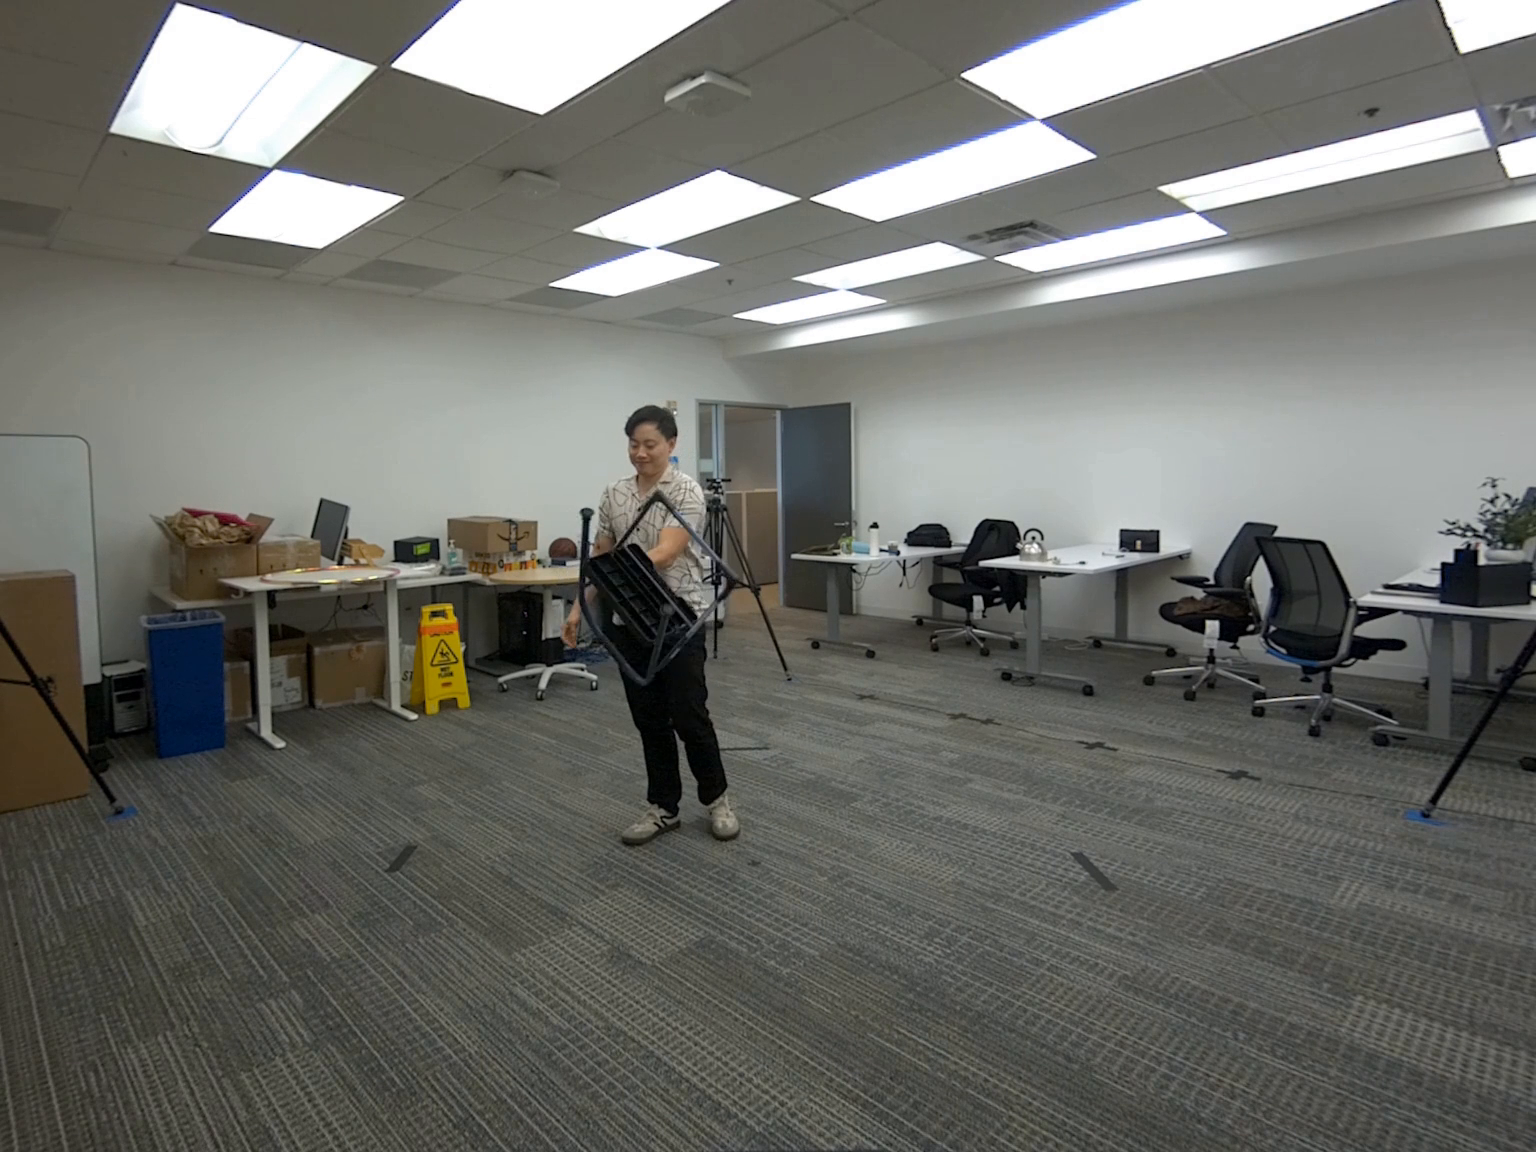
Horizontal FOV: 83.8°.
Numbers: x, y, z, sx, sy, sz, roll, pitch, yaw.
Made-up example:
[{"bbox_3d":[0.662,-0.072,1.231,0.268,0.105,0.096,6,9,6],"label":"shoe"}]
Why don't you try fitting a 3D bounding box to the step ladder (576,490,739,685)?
[{"bbox_3d":[-0.465,0.090,2.792,0.343,0.441,0.602,-22,-25,-47],"label":"step ladder"}]
